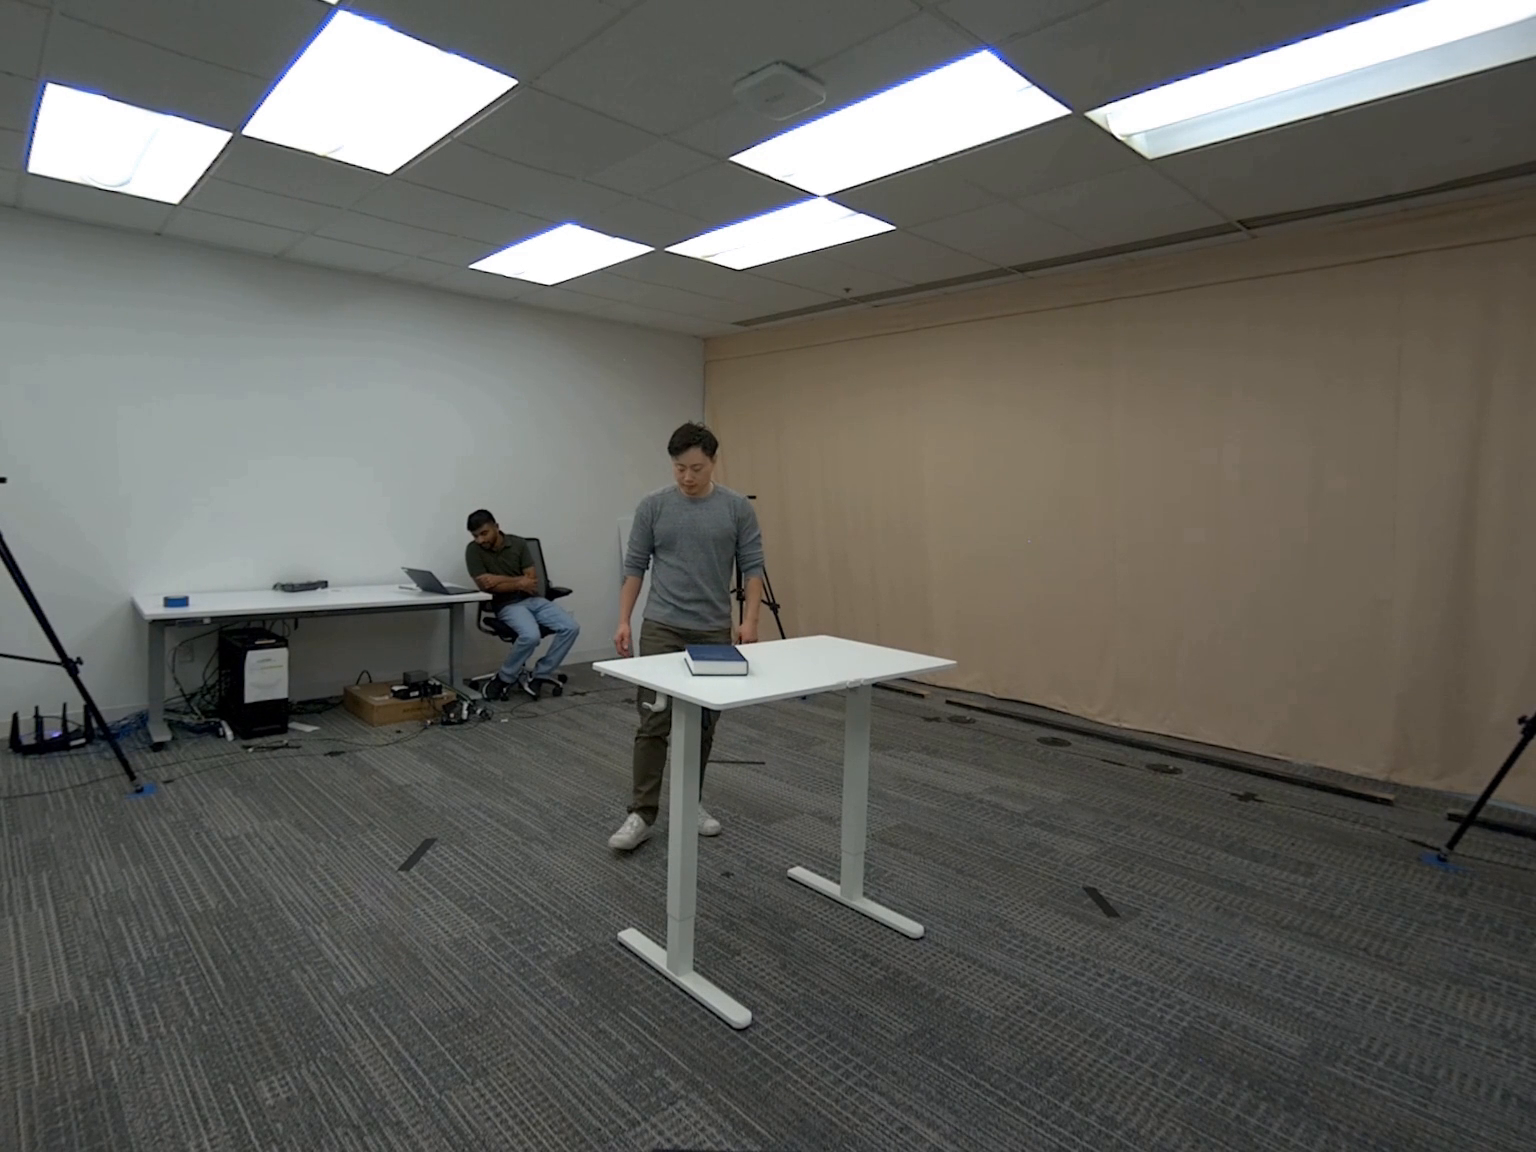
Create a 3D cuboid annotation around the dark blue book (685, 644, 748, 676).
[{"bbox_3d":[-0.163,0.254,2.507,0.162,0.045,0.248,1,7,-8],"label":"dark blue book"}]
